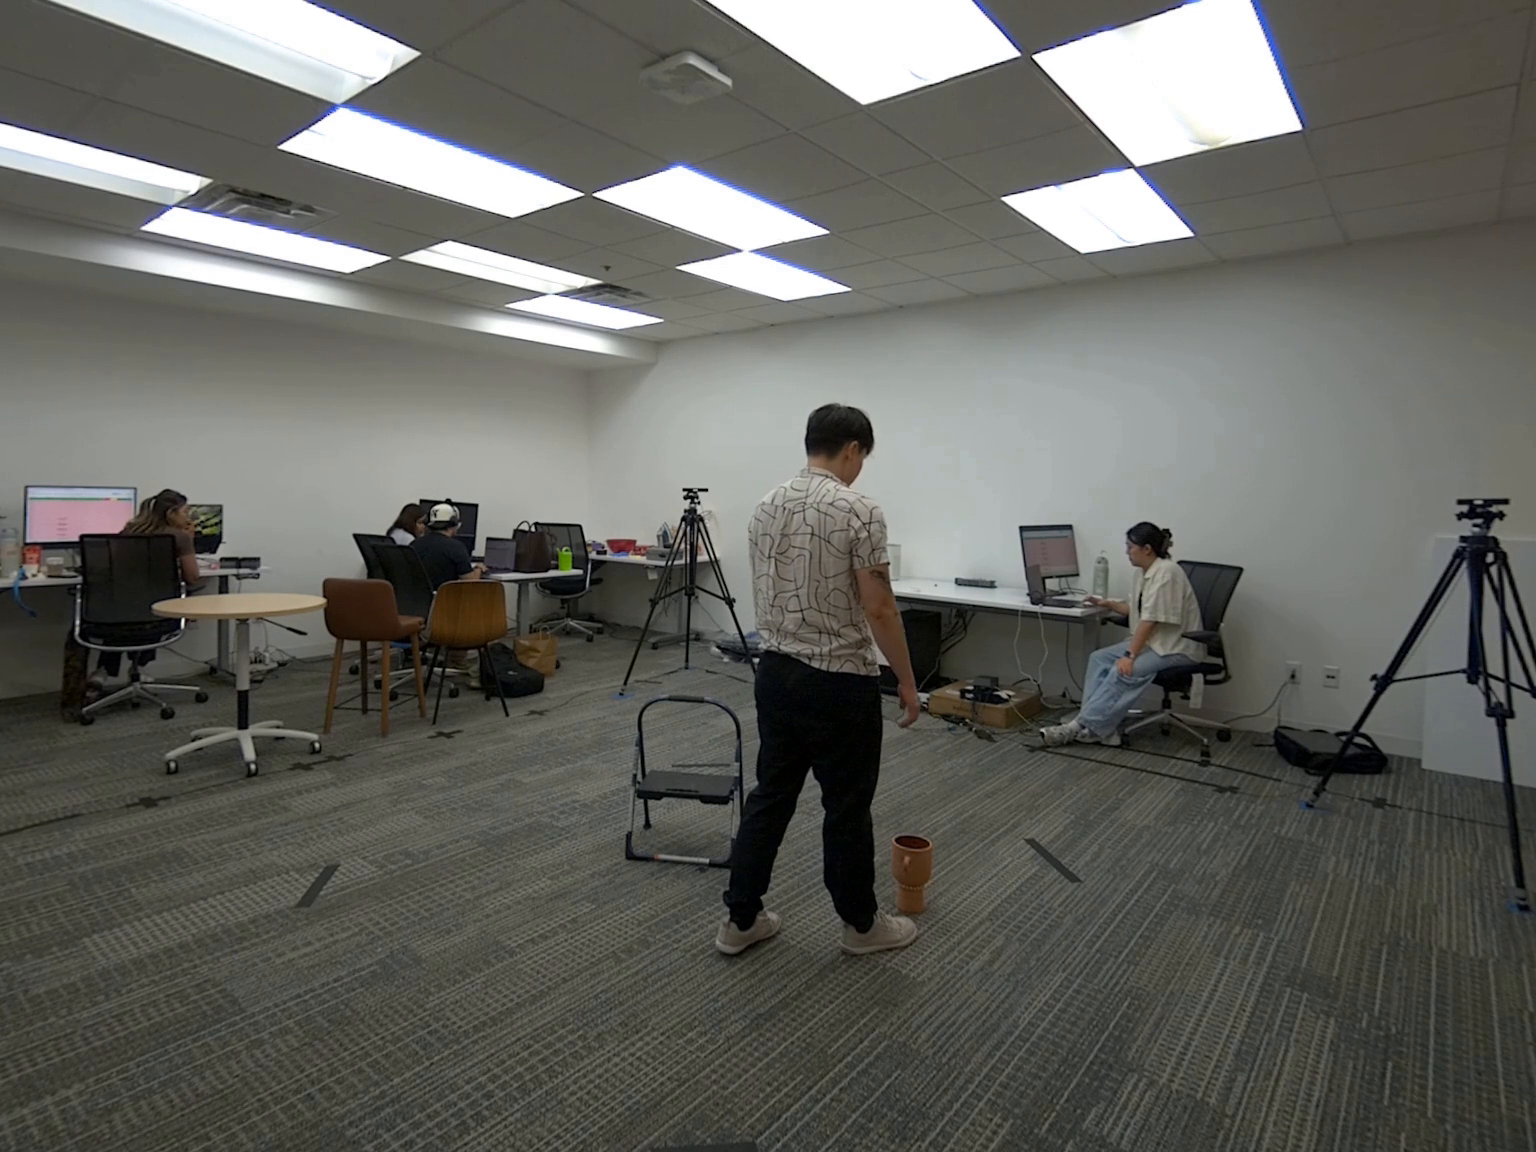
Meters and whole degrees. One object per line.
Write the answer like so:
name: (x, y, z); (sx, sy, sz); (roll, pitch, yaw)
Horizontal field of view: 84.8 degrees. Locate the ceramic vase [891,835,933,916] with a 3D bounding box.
ceramic vase: (0.474, 0.997, 2.866); (0.154, 0.219, 0.139); (-1, 4, -31)
